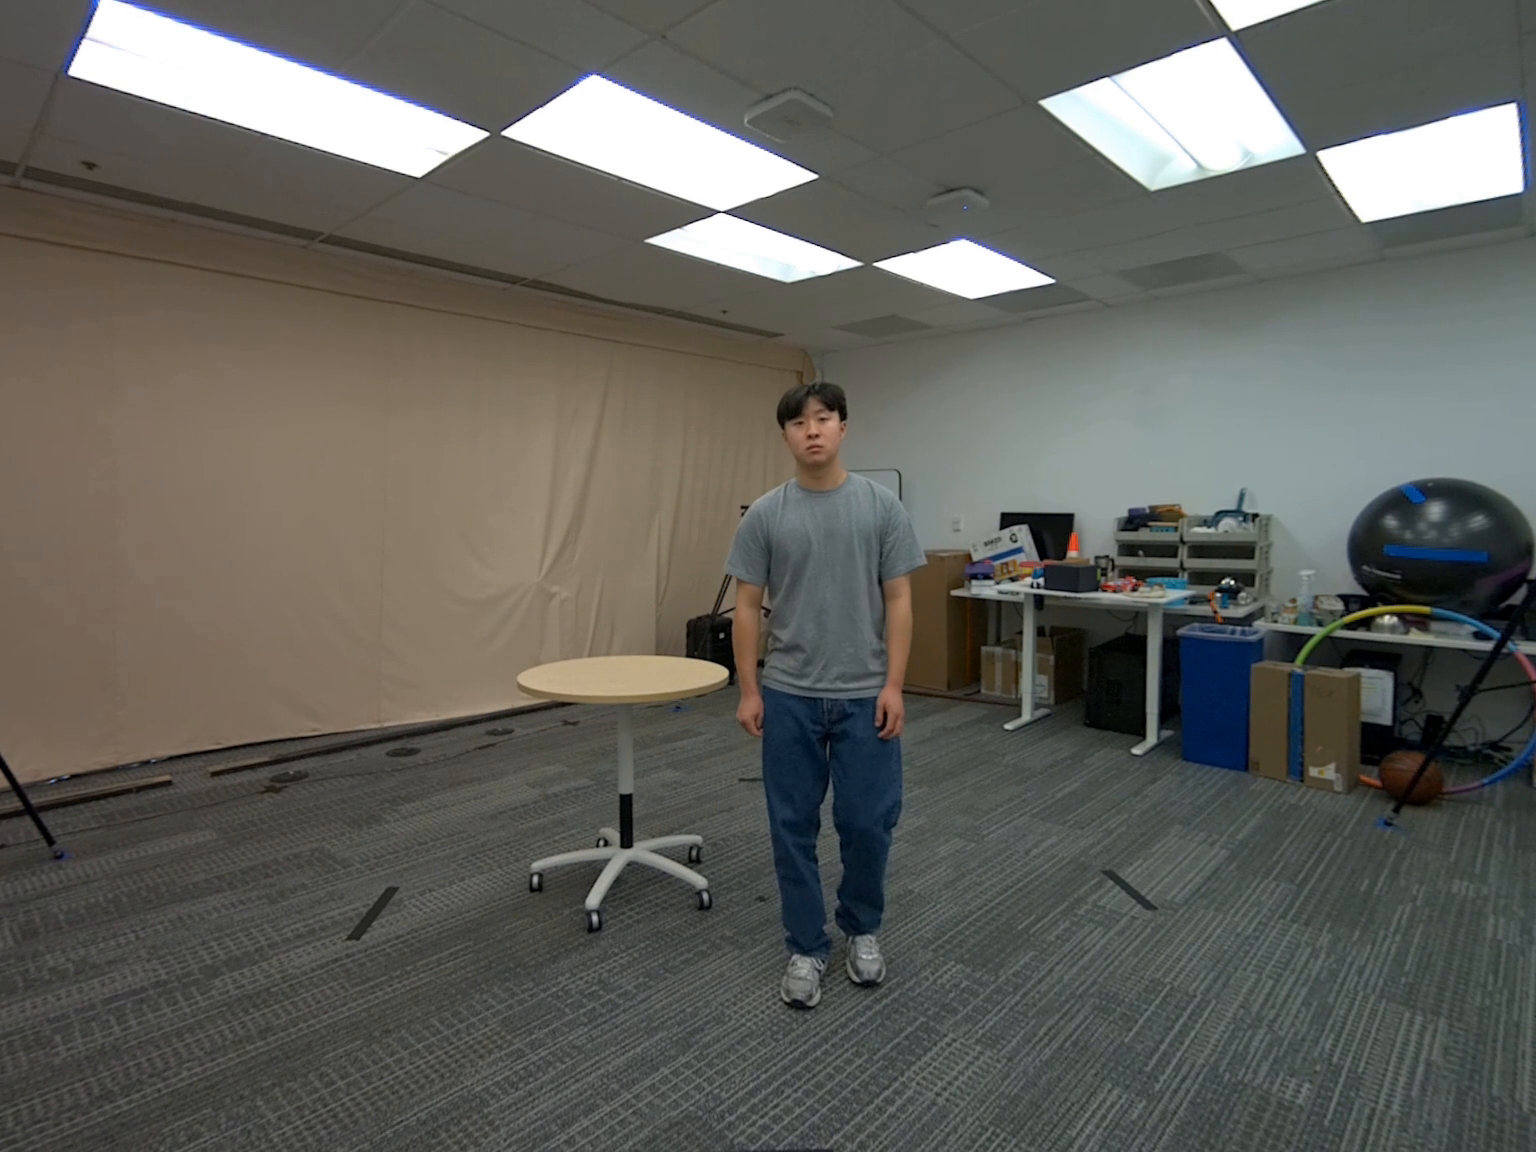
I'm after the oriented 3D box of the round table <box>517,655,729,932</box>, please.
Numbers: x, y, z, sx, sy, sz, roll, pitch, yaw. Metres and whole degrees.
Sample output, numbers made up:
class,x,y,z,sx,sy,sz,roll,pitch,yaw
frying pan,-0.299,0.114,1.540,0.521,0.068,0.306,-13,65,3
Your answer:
class,x,y,z,sx,sy,sz,roll,pitch,yaw
round table,-0.519,0.749,3.091,0.763,0.792,0.766,-1,3,-2
